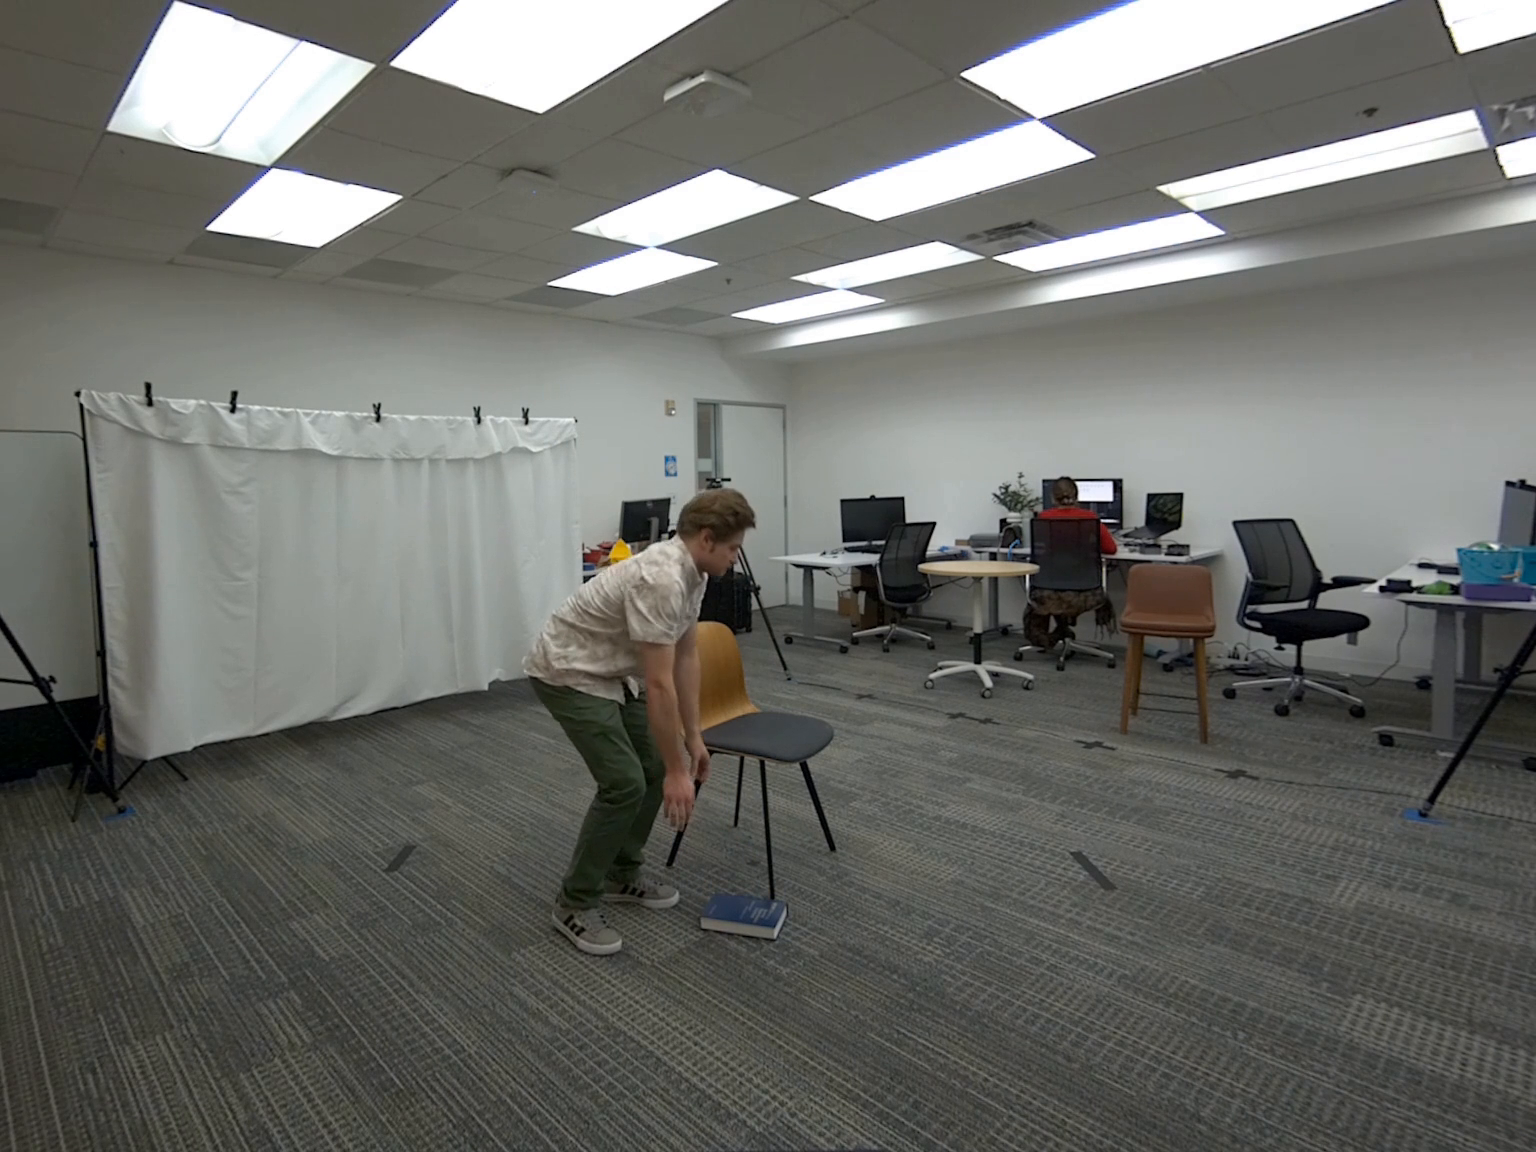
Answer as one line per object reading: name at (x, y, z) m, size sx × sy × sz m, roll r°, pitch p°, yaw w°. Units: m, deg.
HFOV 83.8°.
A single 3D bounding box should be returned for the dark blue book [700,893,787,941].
dark blue book at (-0.074, 1.066, 2.685) m, size 0.249 × 0.045 × 0.161 m, roll 2°, pitch 8°, yaw 17°
